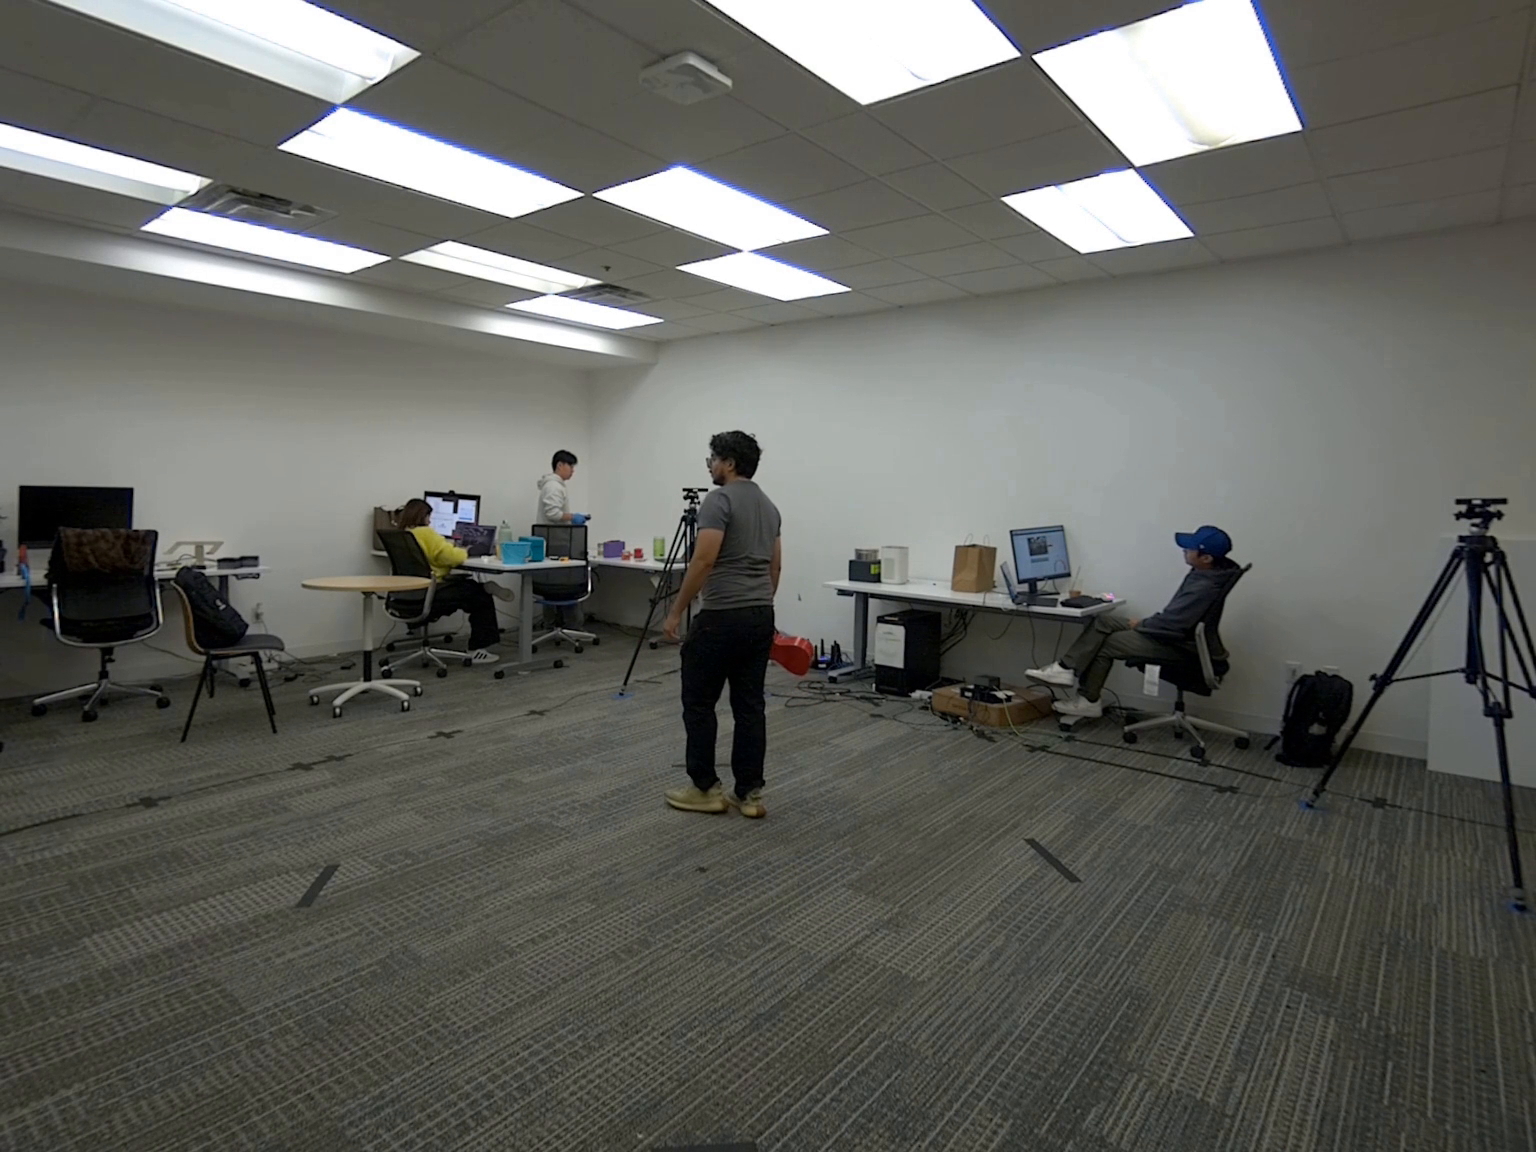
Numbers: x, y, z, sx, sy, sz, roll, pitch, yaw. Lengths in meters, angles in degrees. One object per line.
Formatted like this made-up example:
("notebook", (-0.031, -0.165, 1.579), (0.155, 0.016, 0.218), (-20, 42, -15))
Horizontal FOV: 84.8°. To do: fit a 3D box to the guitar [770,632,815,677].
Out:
("guitar", (-0.042, 0.319, 3.953), (0.511, 0.187, 0.071), (15, 42, 22))
